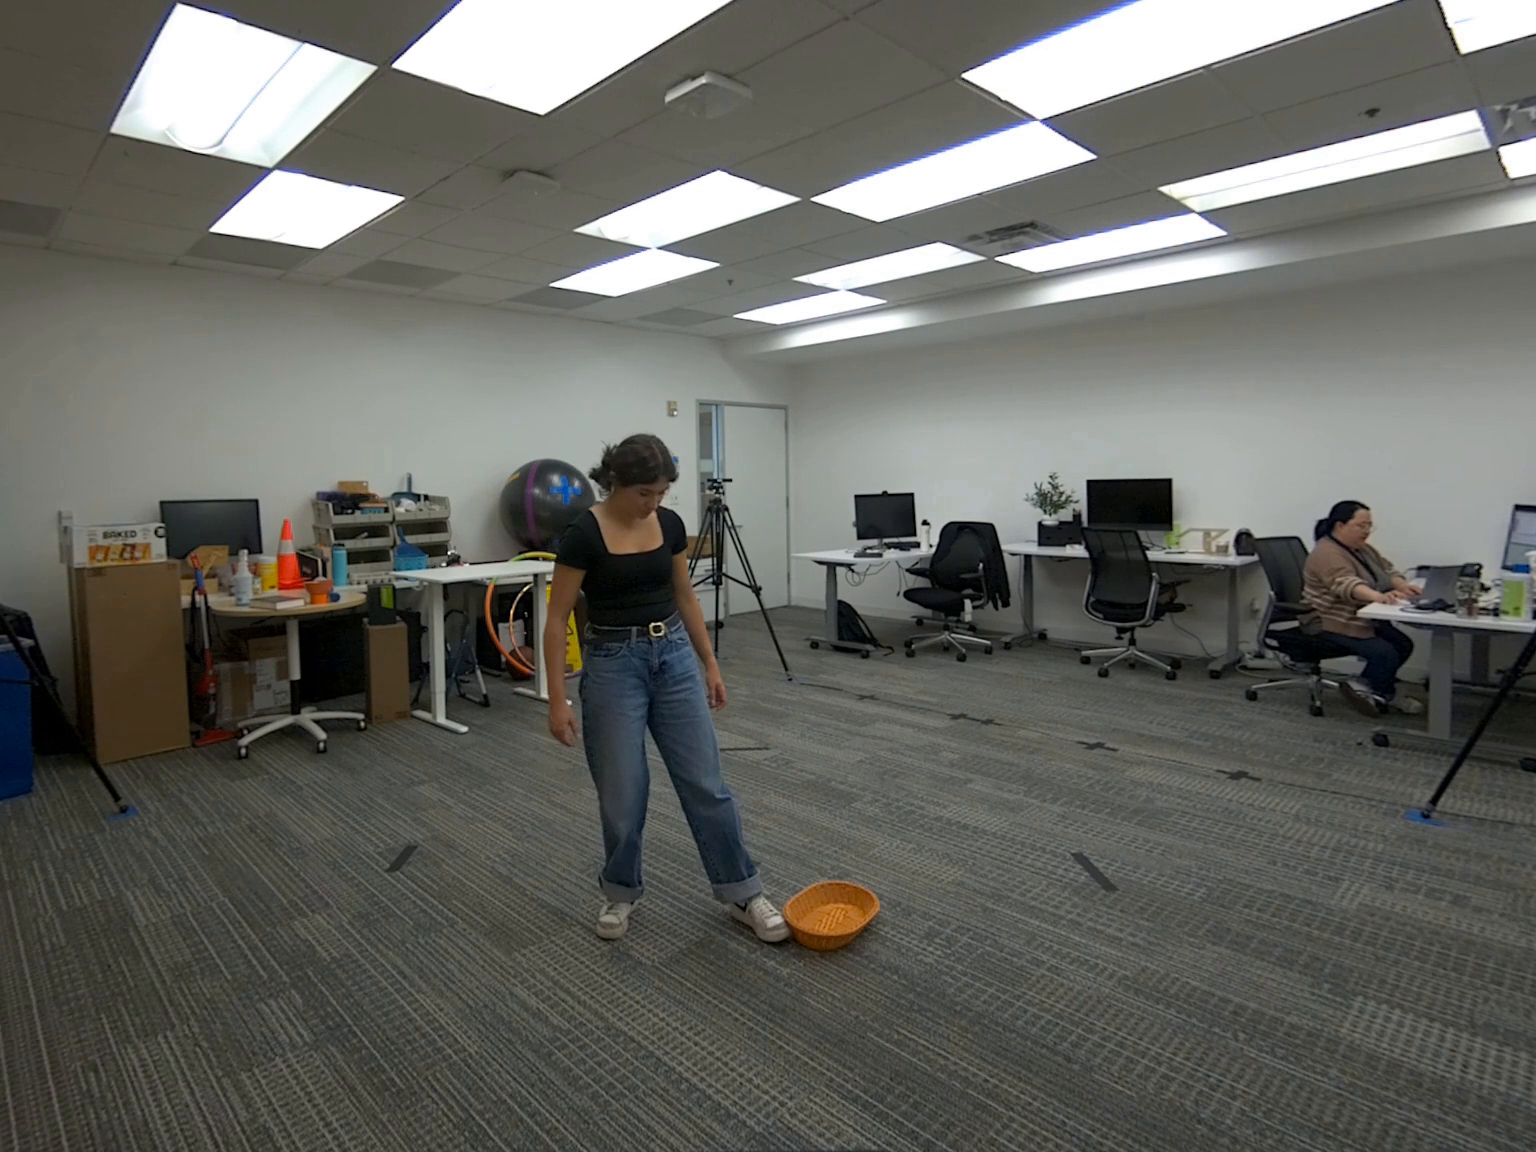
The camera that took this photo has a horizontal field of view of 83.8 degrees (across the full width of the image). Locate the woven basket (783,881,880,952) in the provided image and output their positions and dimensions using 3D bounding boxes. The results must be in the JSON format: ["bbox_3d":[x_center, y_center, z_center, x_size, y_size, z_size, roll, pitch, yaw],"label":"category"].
[{"bbox_3d":[0.199,1.049,2.650,0.260,0.073,0.341,6,8,37],"label":"woven basket"}]
